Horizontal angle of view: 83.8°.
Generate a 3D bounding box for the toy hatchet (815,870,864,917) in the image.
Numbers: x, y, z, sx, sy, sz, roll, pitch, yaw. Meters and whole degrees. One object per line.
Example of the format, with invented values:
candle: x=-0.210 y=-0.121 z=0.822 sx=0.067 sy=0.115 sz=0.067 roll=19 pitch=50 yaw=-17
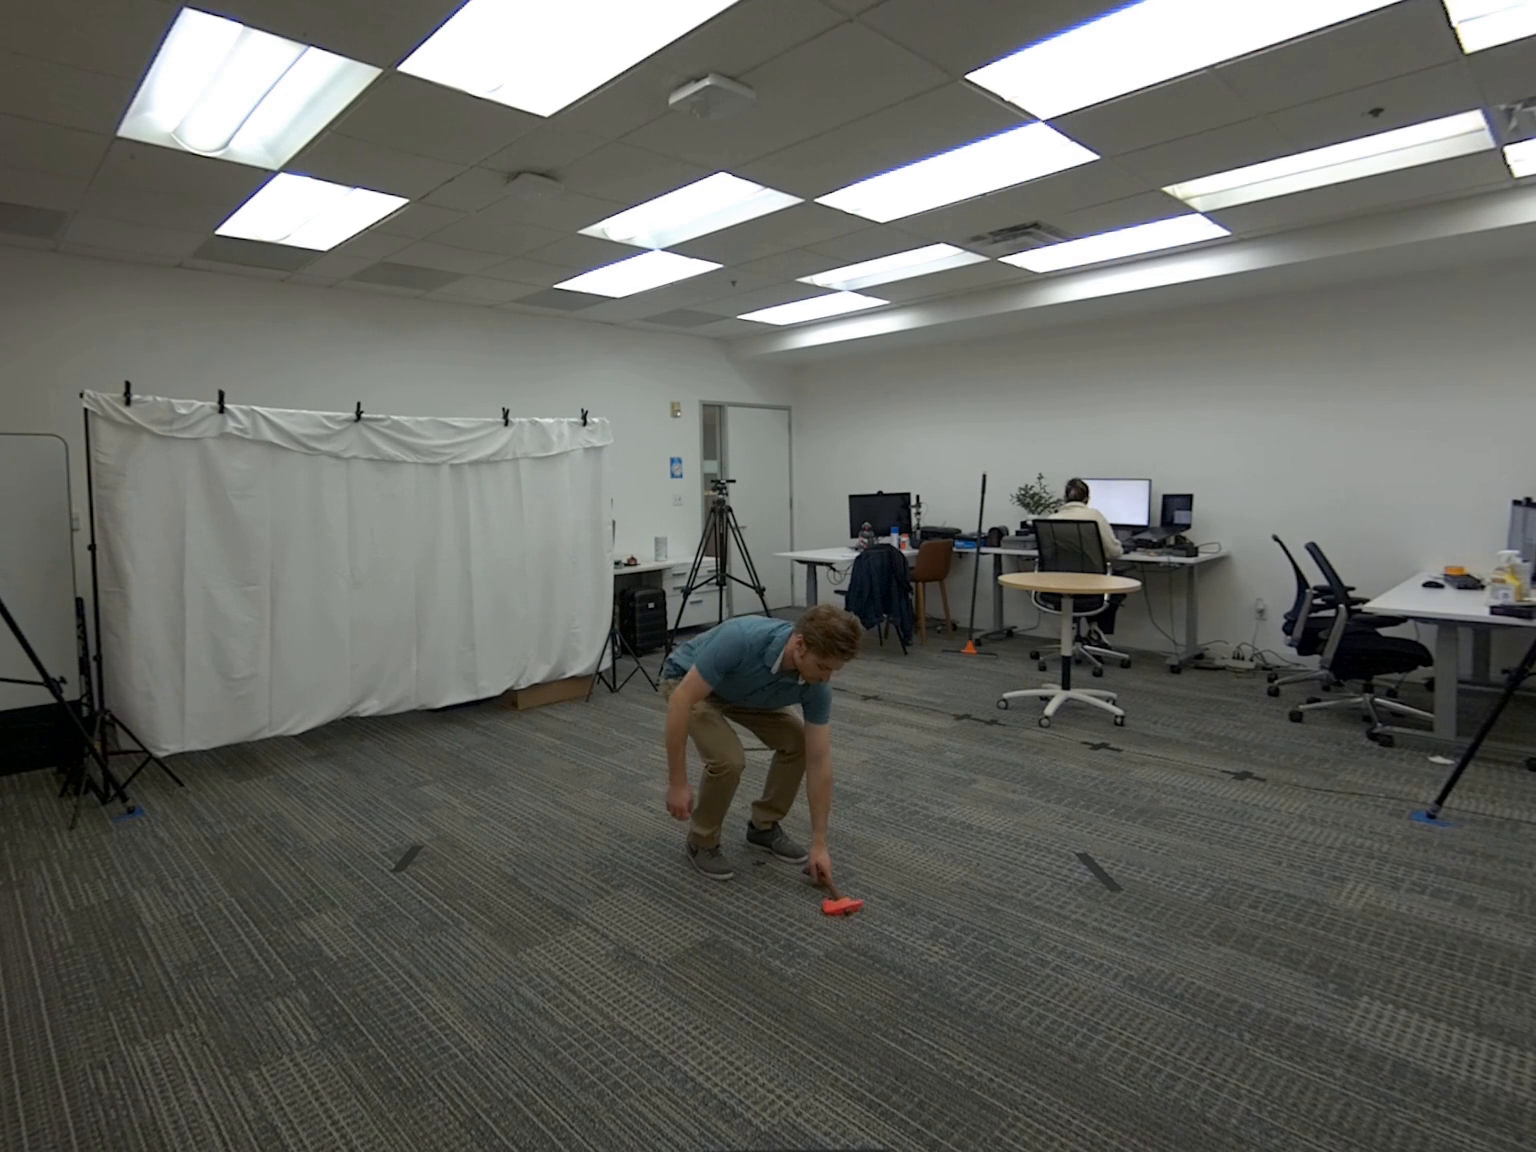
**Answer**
toy hatchet: x=0.178 y=1.059 z=2.833 sx=0.128 sy=0.029 sz=0.278 roll=-11 pitch=11 yaw=-35
